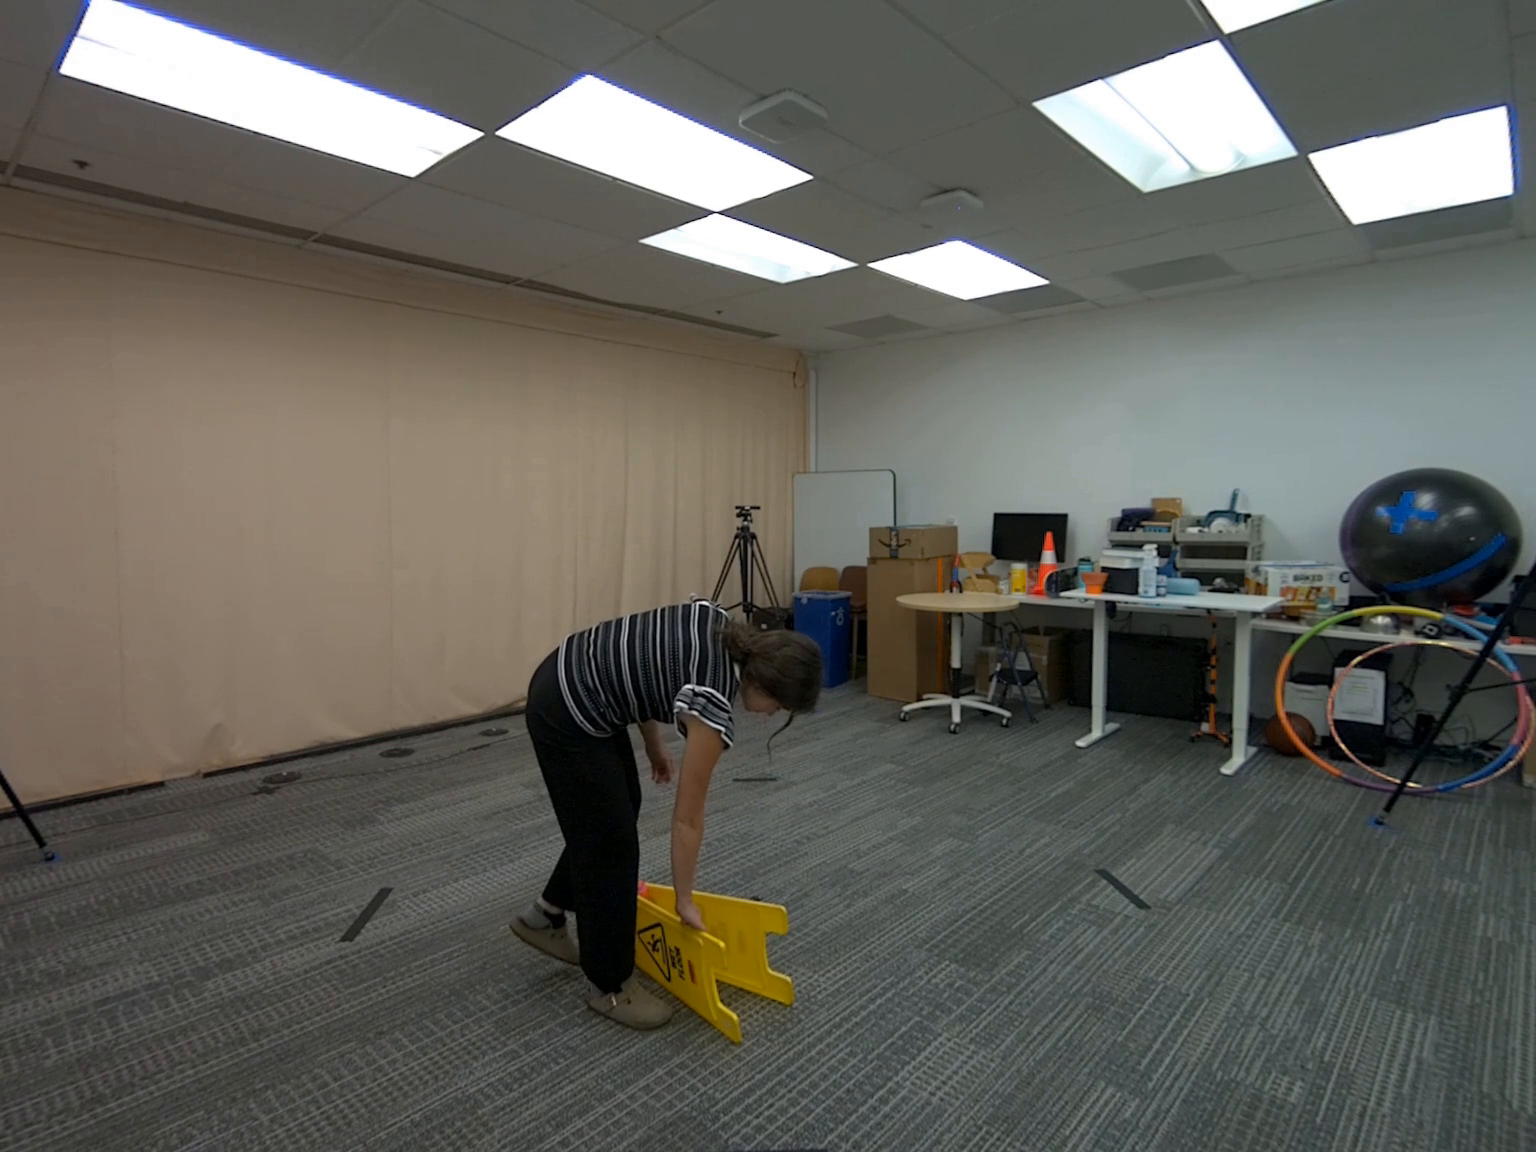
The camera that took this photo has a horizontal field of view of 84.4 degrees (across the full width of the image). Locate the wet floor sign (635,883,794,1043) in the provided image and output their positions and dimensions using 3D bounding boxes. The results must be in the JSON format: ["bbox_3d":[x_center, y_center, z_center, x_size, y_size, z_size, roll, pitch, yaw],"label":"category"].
[{"bbox_3d":[-0.267,1.067,2.462,0.667,0.281,0.281,0,6,41],"label":"wet floor sign"}]
